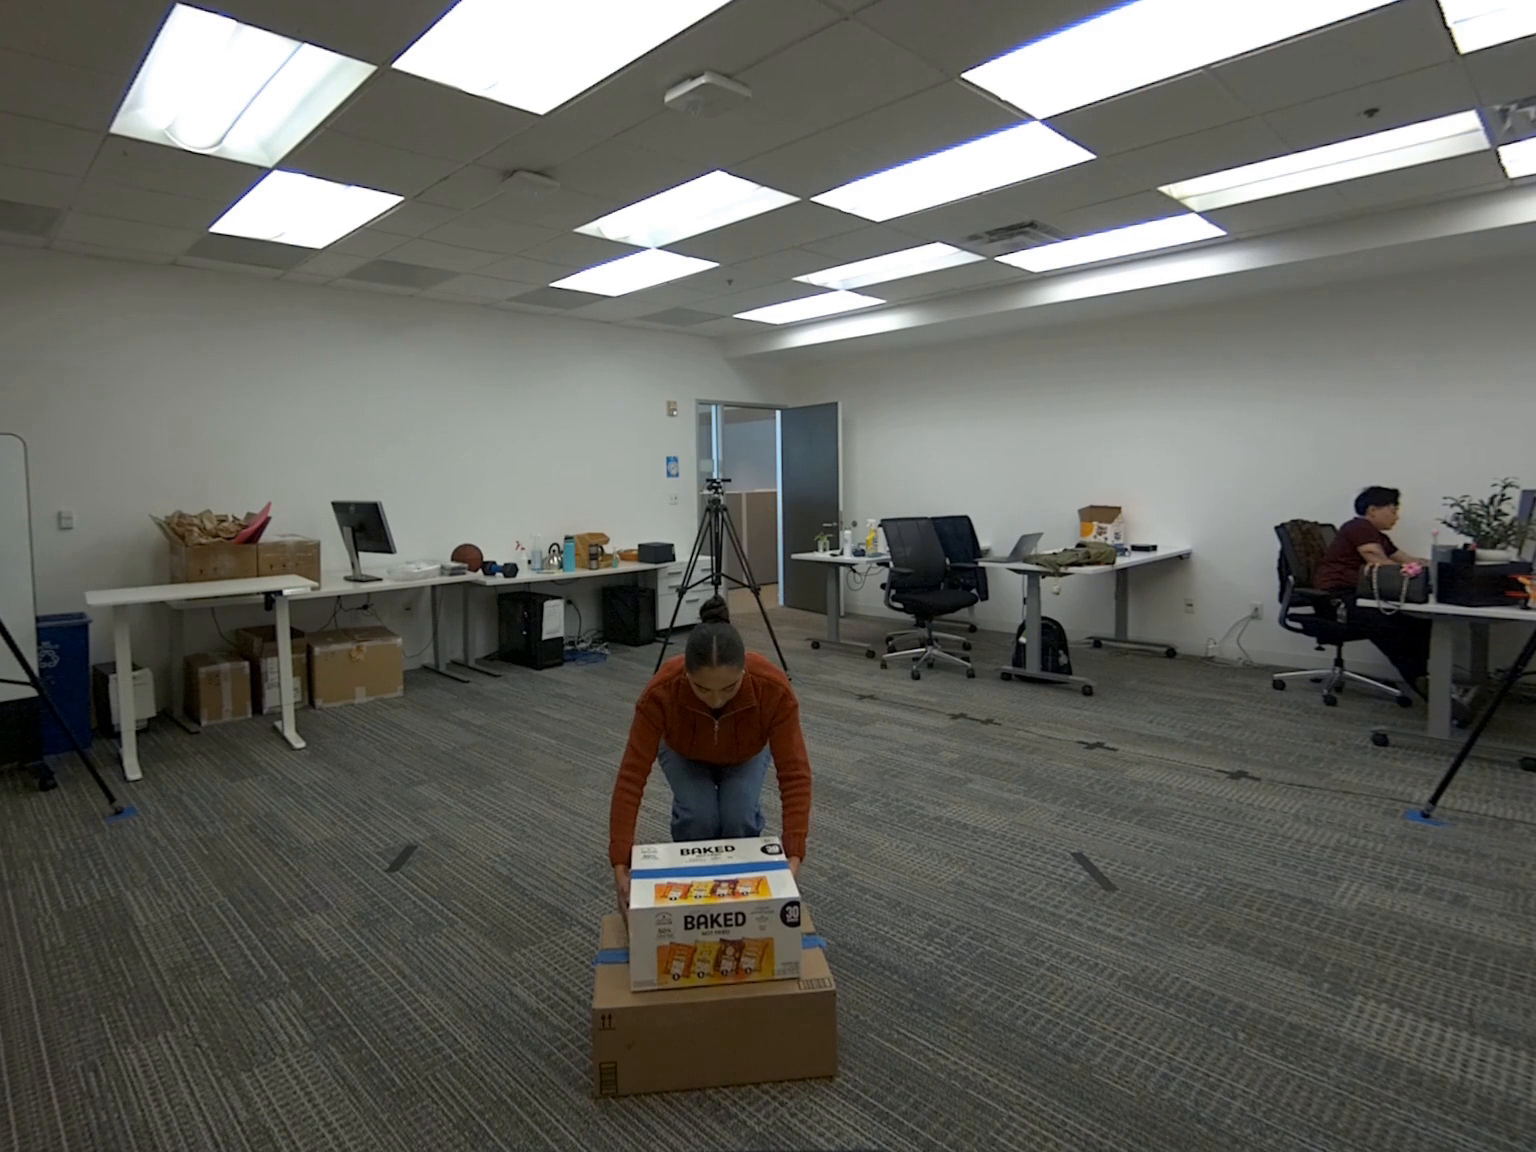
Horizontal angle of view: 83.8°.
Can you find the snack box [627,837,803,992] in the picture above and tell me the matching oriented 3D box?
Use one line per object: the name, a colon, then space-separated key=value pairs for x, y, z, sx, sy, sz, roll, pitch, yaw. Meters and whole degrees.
snack box: x=-0.143 y=0.842 z=2.155 sx=0.403 sy=0.204 sz=0.344 roll=-2 pitch=7 yaw=-6
